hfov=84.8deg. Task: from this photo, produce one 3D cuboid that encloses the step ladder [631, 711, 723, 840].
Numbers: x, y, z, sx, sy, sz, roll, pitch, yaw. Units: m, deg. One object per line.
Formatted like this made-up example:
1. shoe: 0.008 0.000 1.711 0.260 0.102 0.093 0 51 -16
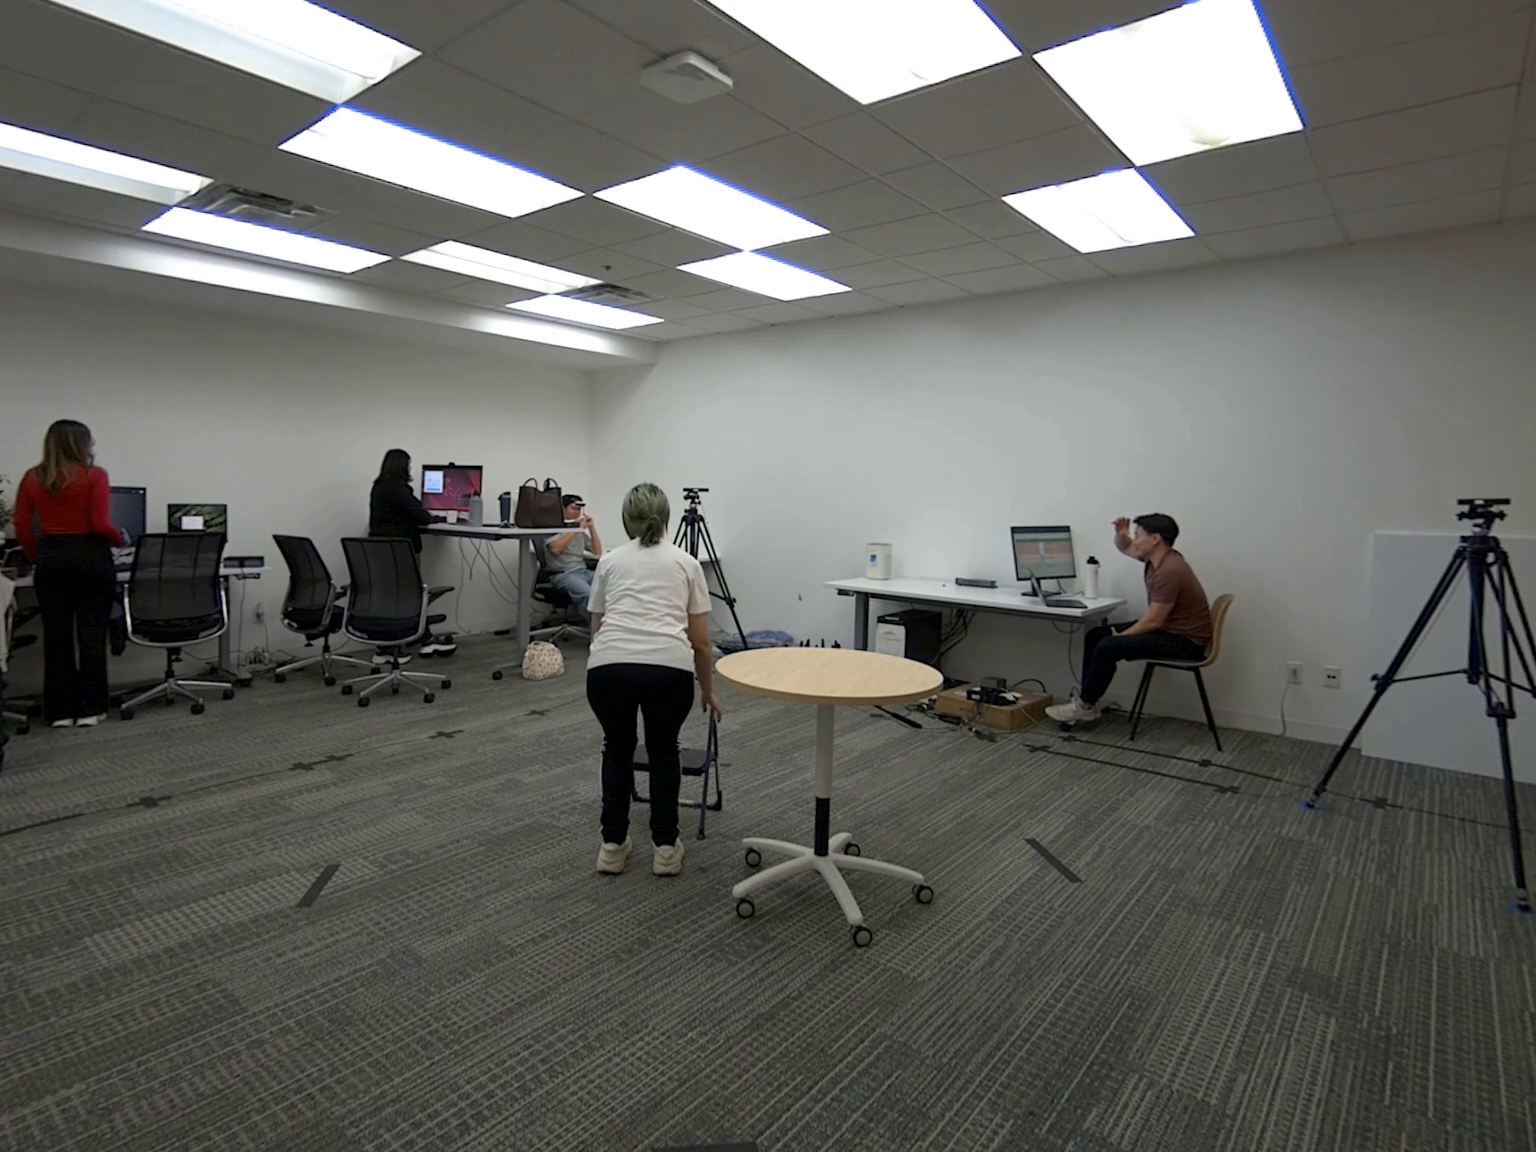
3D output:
1. step ladder: -0.432 0.717 3.577 0.437 0.604 0.345 2 4 13
